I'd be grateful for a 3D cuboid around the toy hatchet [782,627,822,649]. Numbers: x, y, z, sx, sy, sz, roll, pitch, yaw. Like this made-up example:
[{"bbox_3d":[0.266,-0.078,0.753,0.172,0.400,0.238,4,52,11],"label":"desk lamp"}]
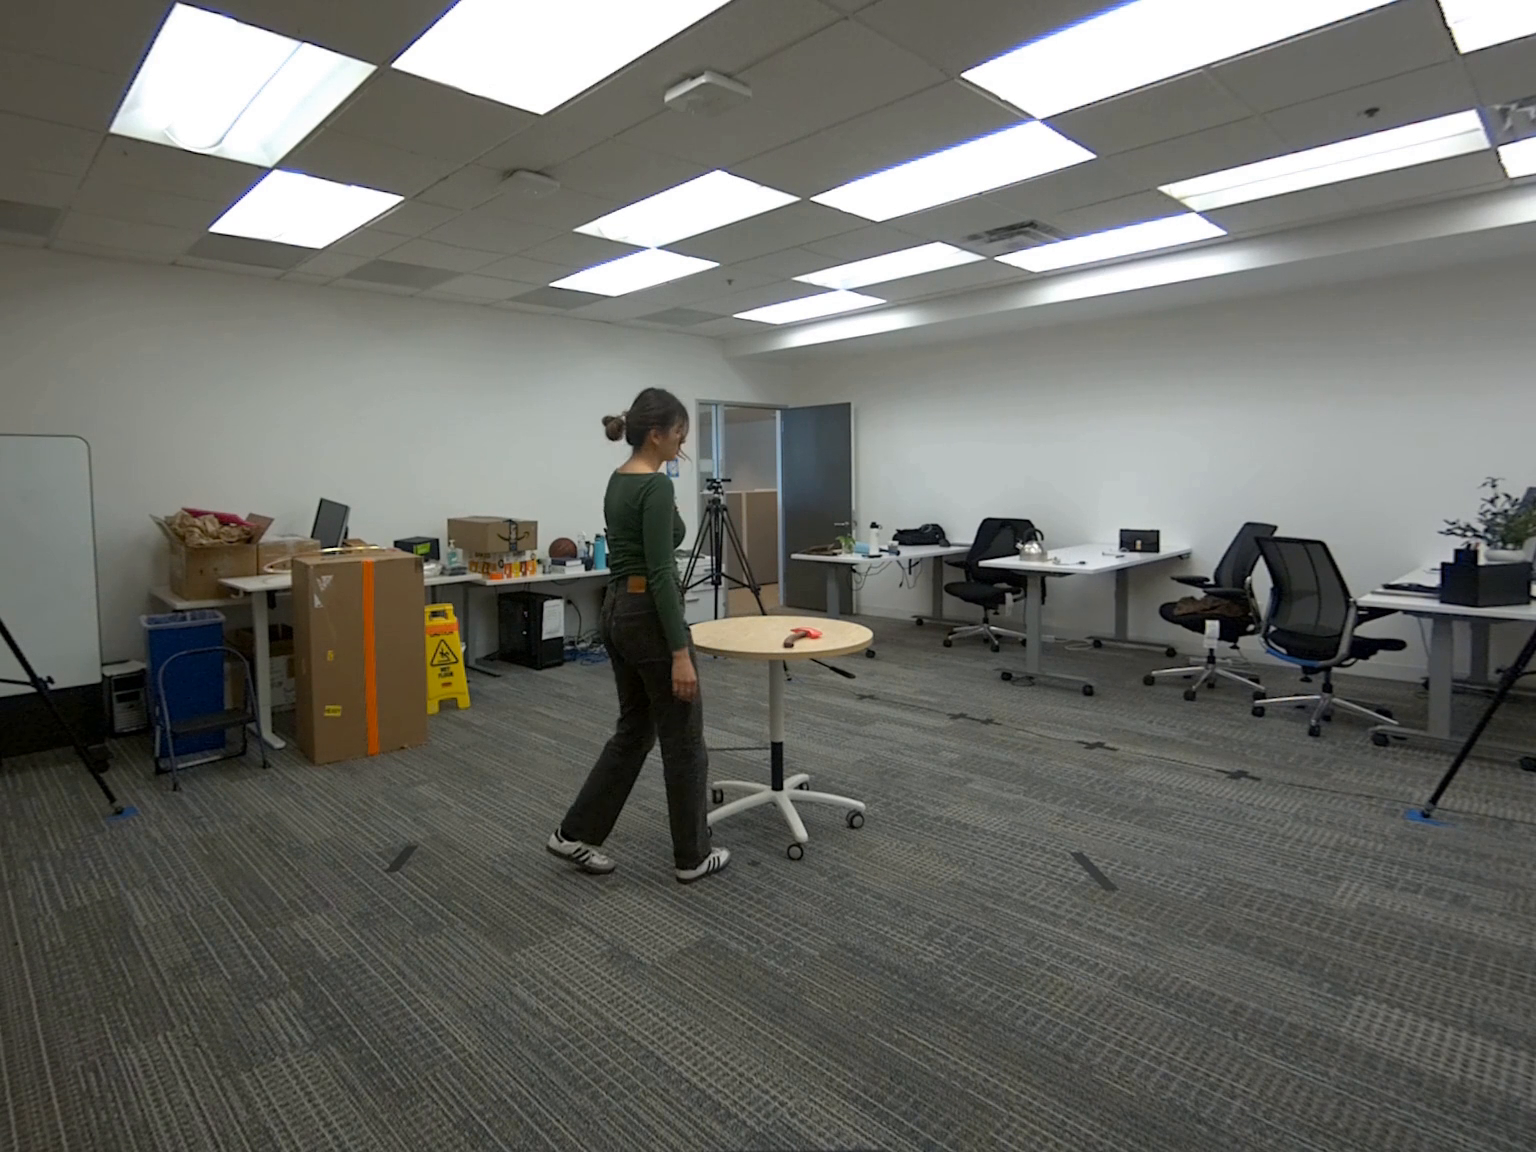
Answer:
[{"bbox_3d":[0.139,0.237,3.230,0.132,0.029,0.270,4,9,7],"label":"toy hatchet"}]
